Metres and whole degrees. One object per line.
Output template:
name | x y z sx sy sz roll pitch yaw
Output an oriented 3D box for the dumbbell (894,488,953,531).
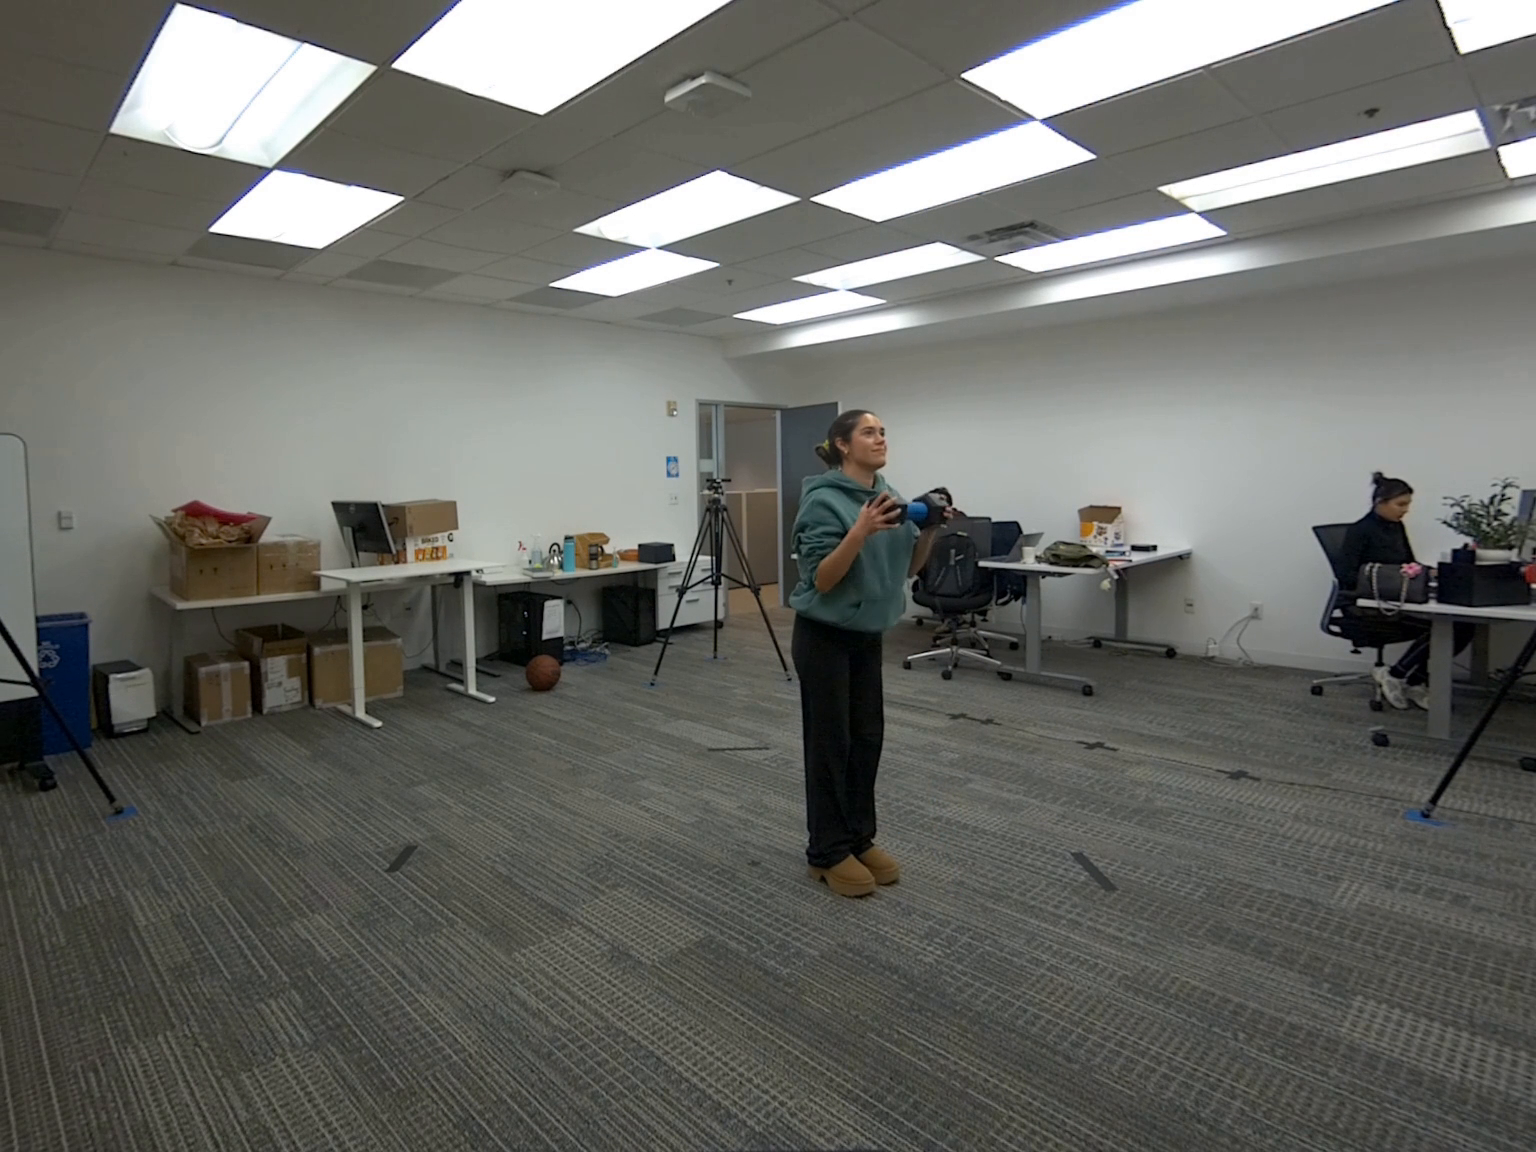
dumbbell | 0.433 -0.192 2.720 0.285 0.110 0.125 -2 -11 -41
